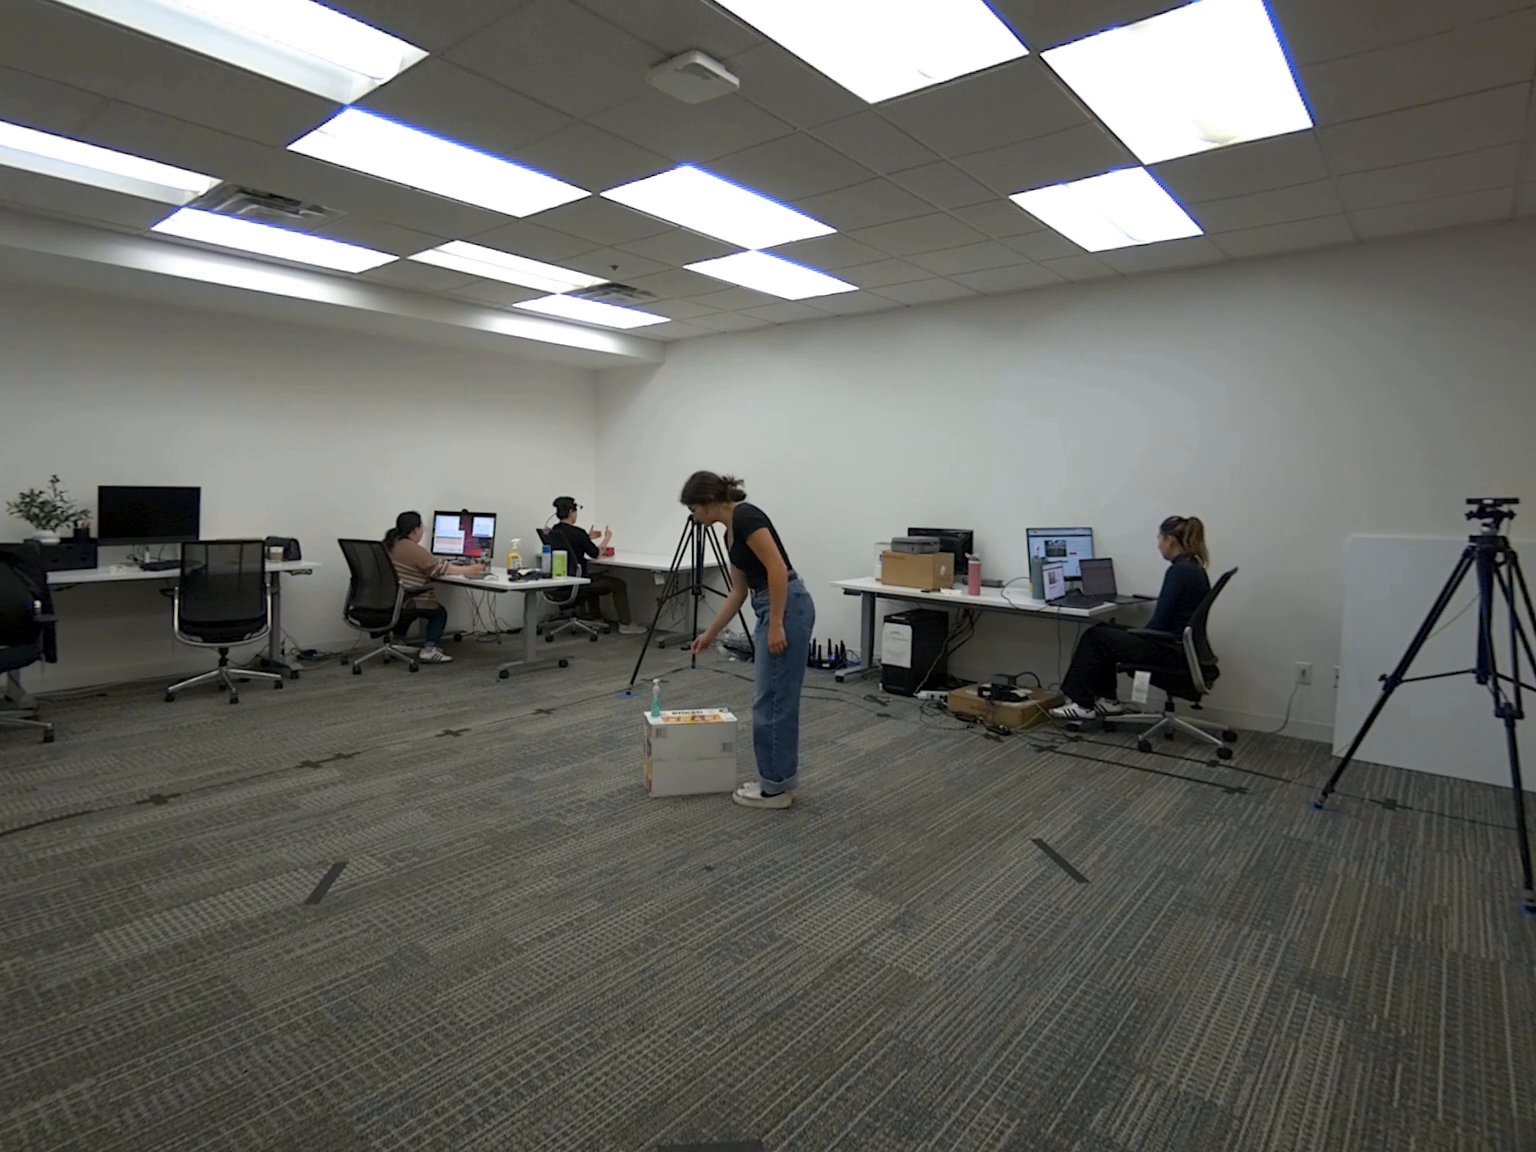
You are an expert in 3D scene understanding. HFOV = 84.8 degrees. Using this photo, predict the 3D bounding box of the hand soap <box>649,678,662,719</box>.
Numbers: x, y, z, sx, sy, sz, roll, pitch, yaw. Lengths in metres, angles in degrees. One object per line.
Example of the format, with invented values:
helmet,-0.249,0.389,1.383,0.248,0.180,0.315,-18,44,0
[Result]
hand soap,-0.530,0.558,3.944,0.043,0.167,0.085,-2,5,-6
